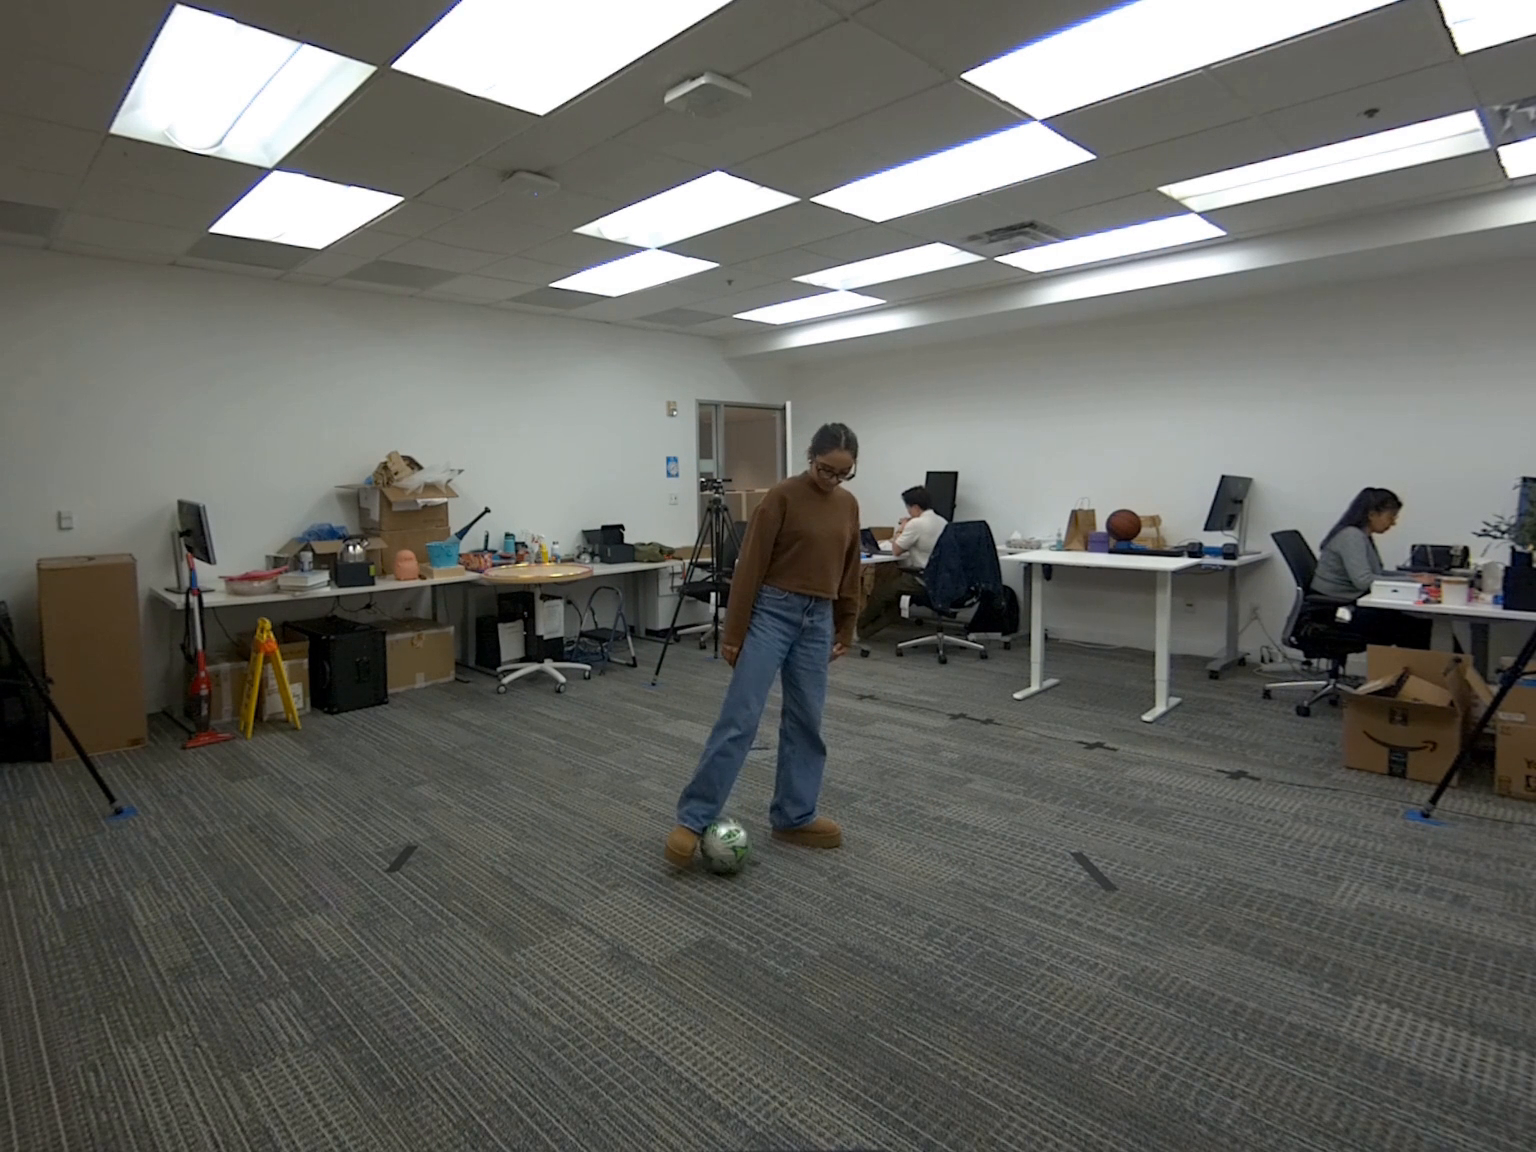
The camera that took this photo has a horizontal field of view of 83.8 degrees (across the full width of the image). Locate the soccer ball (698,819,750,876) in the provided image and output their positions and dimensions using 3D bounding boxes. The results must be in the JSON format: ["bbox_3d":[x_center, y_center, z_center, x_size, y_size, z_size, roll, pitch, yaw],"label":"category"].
[{"bbox_3d":[-0.132,0.951,3.044,0.187,0.187,0.188,-1,5,-2],"label":"soccer ball"}]
